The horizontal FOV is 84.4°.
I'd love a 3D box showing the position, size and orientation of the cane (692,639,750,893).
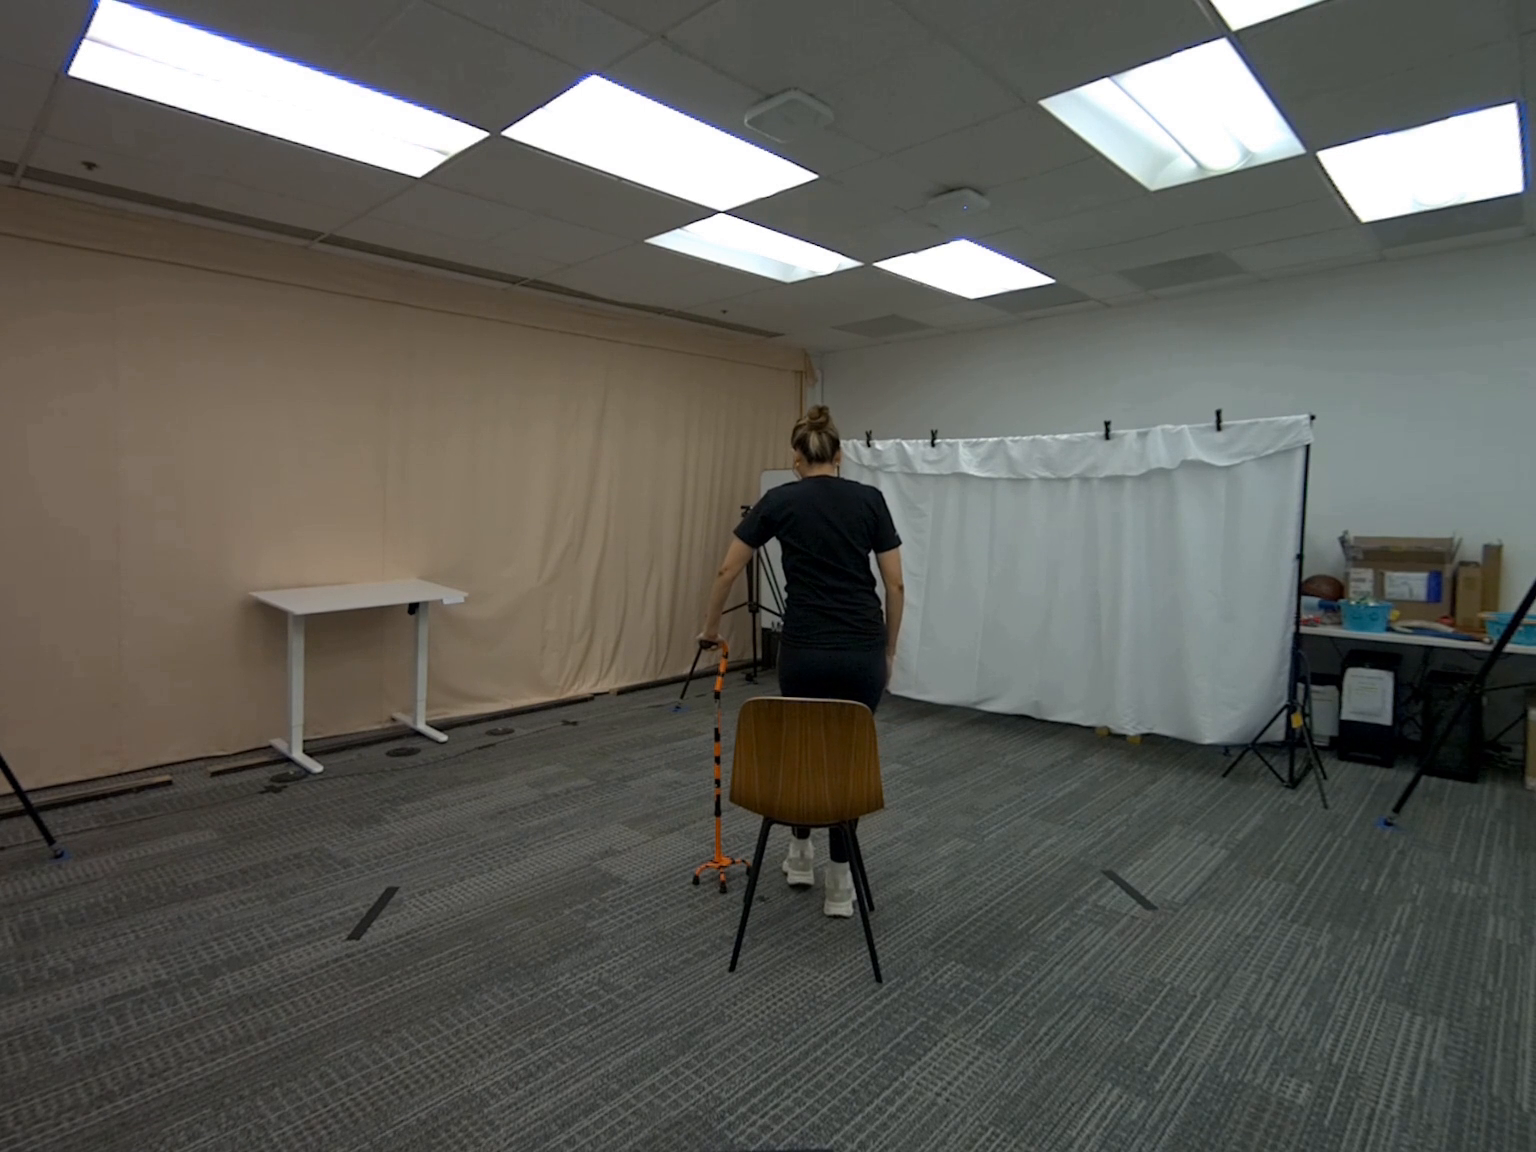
[{"bbox_3d":[-0.176,0.684,3.122,0.156,0.906,0.201,1,4,33],"label":"cane"}]
